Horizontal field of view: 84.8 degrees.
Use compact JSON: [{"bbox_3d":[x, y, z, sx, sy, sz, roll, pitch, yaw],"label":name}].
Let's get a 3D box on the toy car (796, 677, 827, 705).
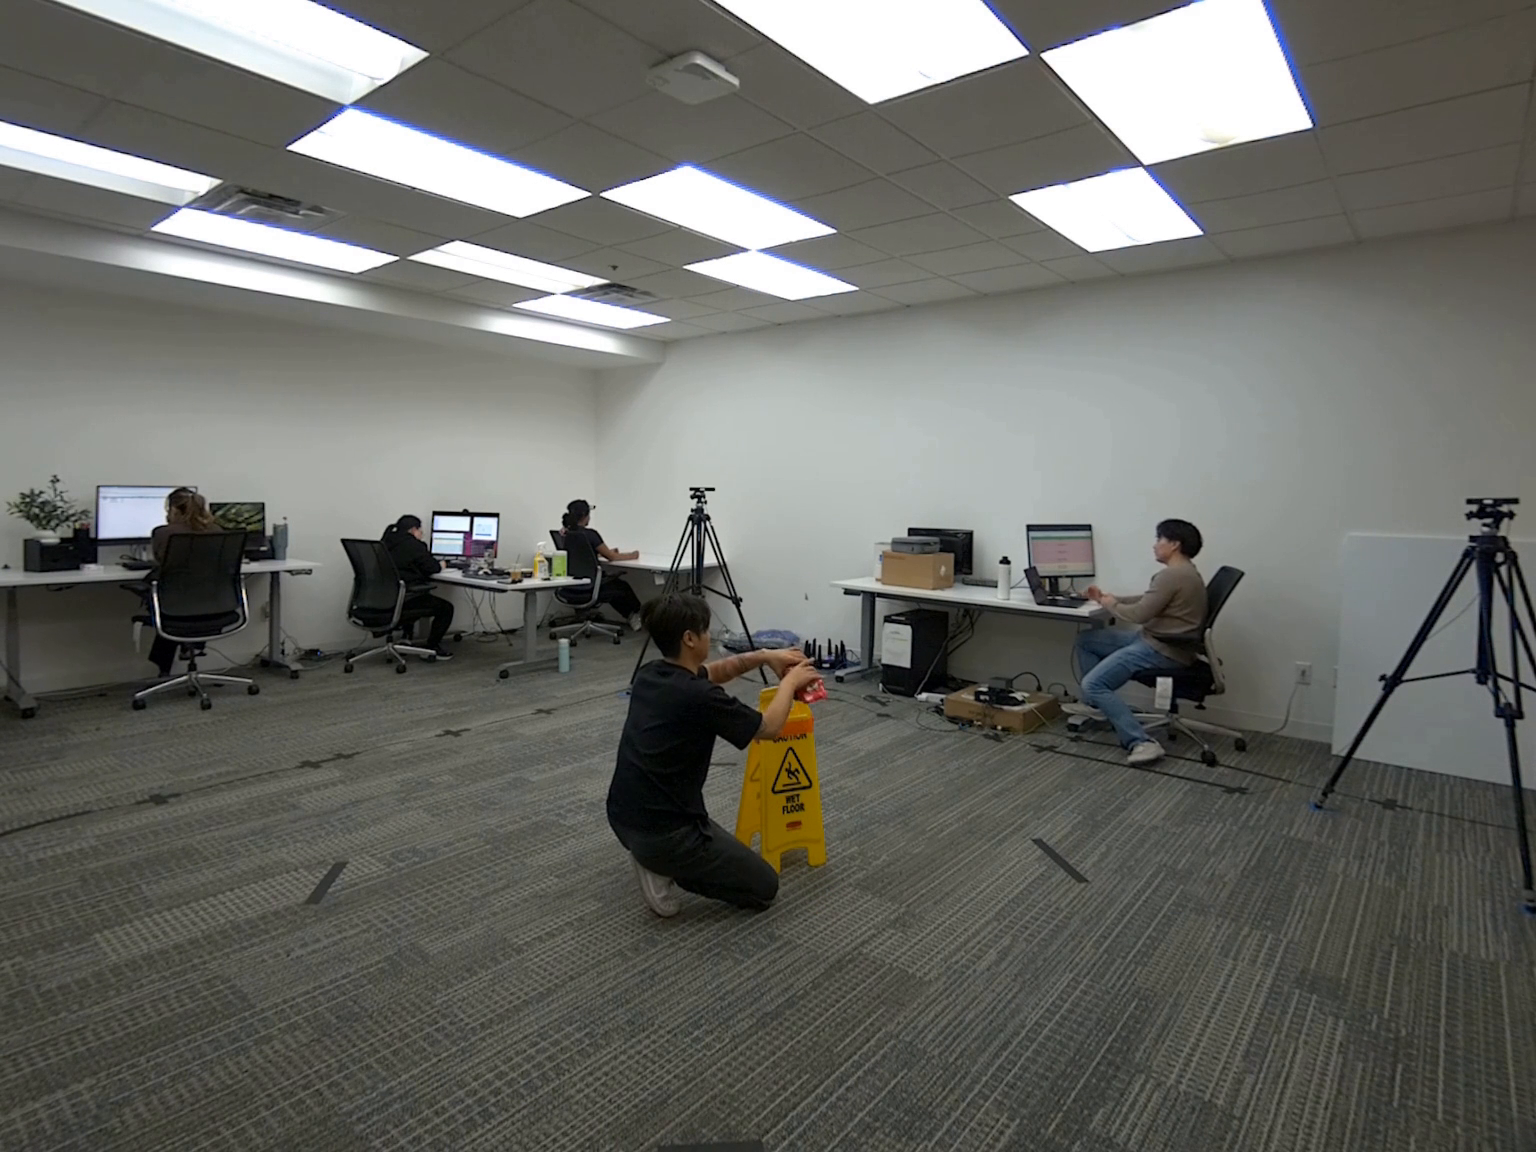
[{"bbox_3d":[0.109,0.375,3.079,0.128,0.081,0.265,-21,35,-24],"label":"toy car"}]
